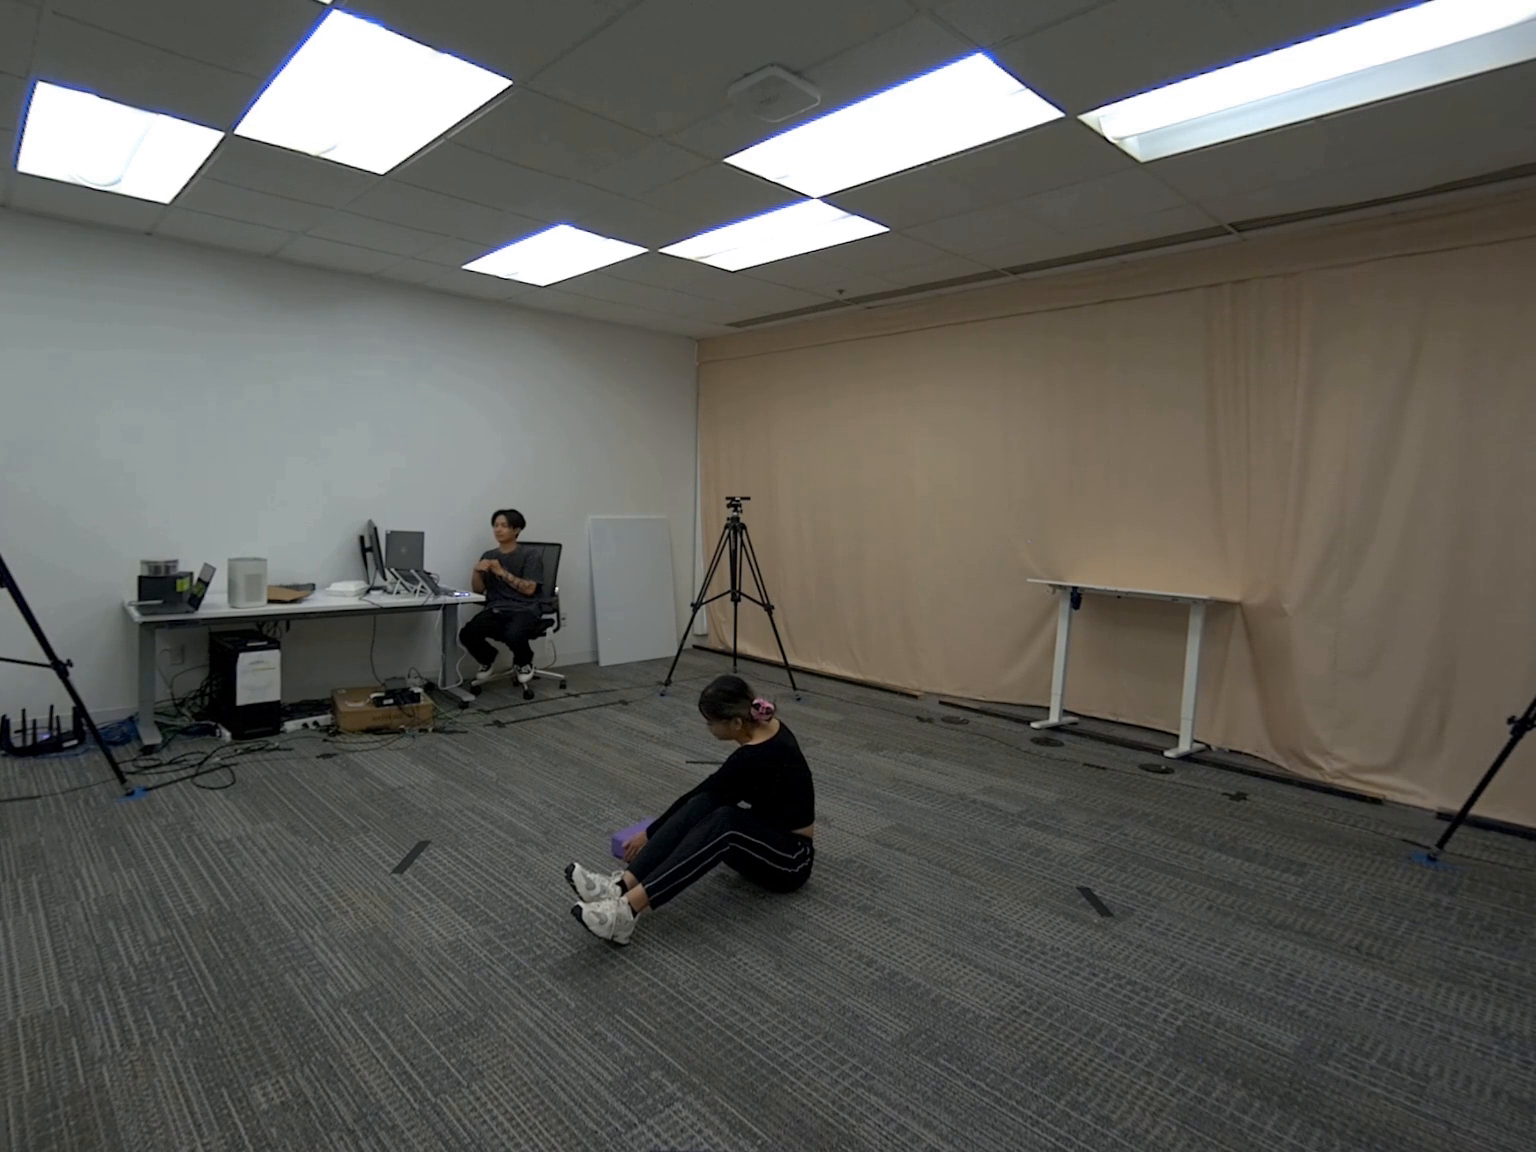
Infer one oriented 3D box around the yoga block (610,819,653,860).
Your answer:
[{"bbox_3d":[-0.485,1.035,3.304,0.152,0.076,0.225,6,8,34],"label":"yoga block"}]
